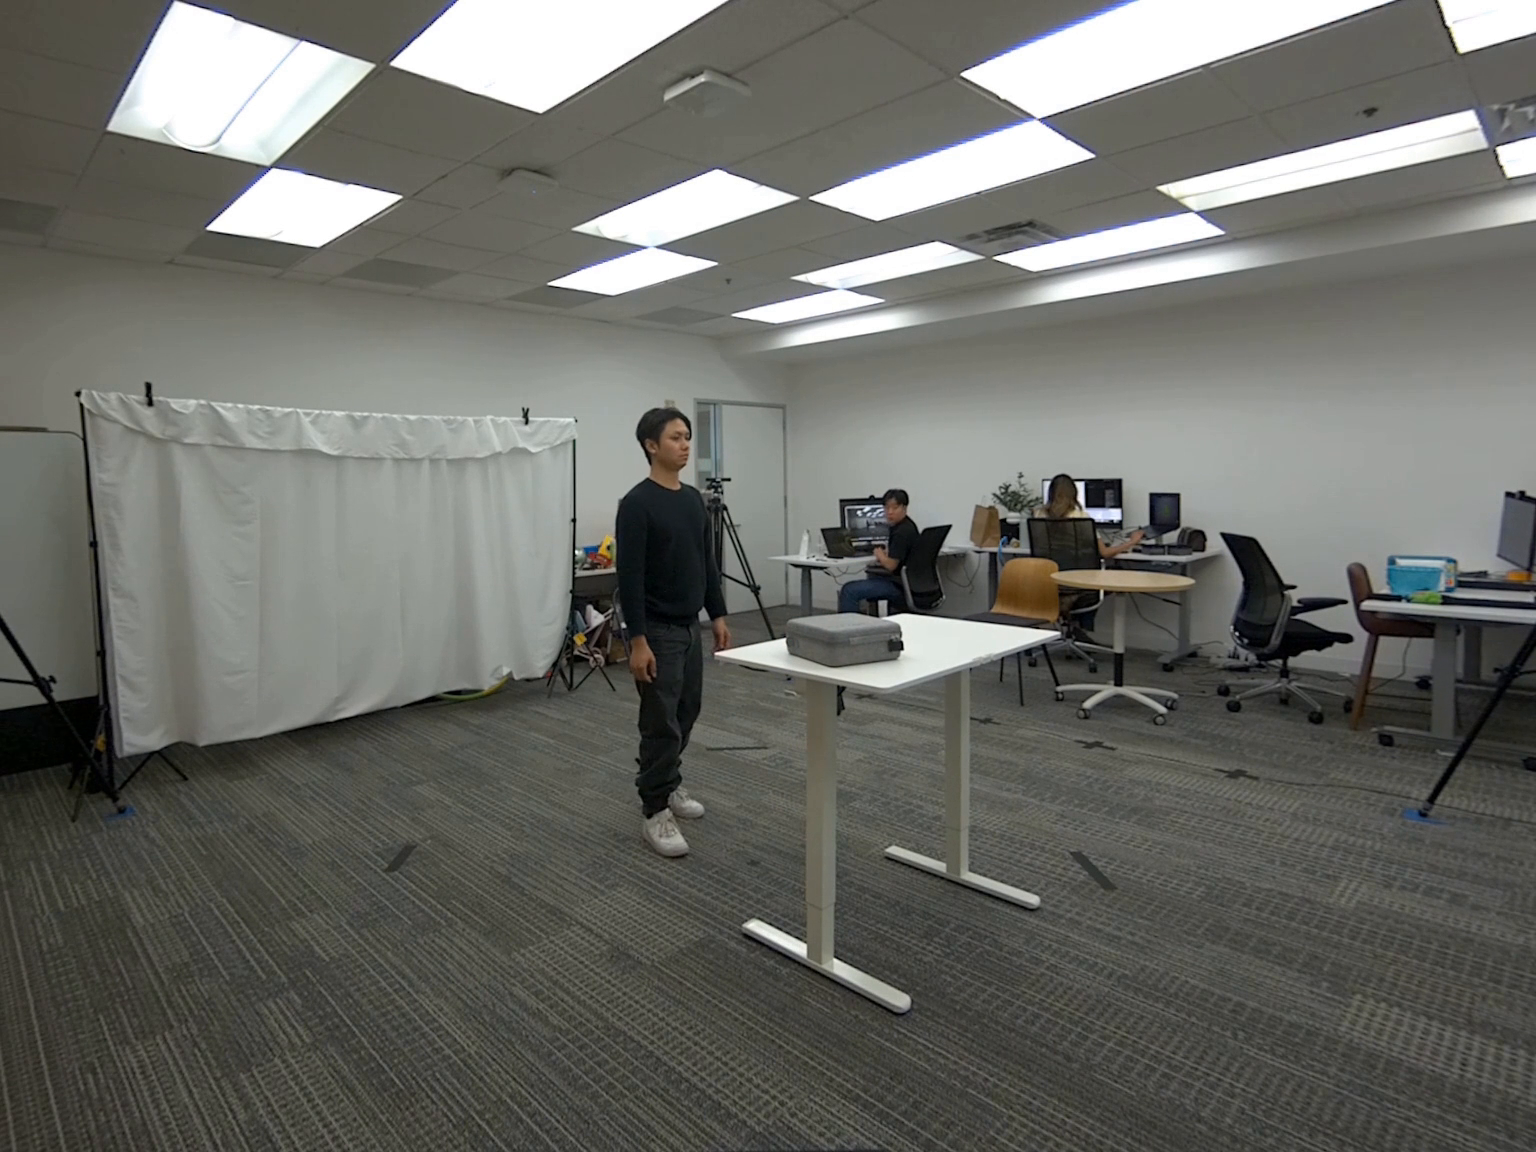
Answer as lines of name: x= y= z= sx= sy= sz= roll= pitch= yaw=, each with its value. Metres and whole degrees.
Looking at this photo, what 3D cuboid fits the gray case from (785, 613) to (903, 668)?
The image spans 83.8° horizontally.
gray case: x=0.215 y=0.176 z=2.439 sx=0.251 sy=0.104 sz=0.267 roll=-5 pitch=7 yaw=-28
